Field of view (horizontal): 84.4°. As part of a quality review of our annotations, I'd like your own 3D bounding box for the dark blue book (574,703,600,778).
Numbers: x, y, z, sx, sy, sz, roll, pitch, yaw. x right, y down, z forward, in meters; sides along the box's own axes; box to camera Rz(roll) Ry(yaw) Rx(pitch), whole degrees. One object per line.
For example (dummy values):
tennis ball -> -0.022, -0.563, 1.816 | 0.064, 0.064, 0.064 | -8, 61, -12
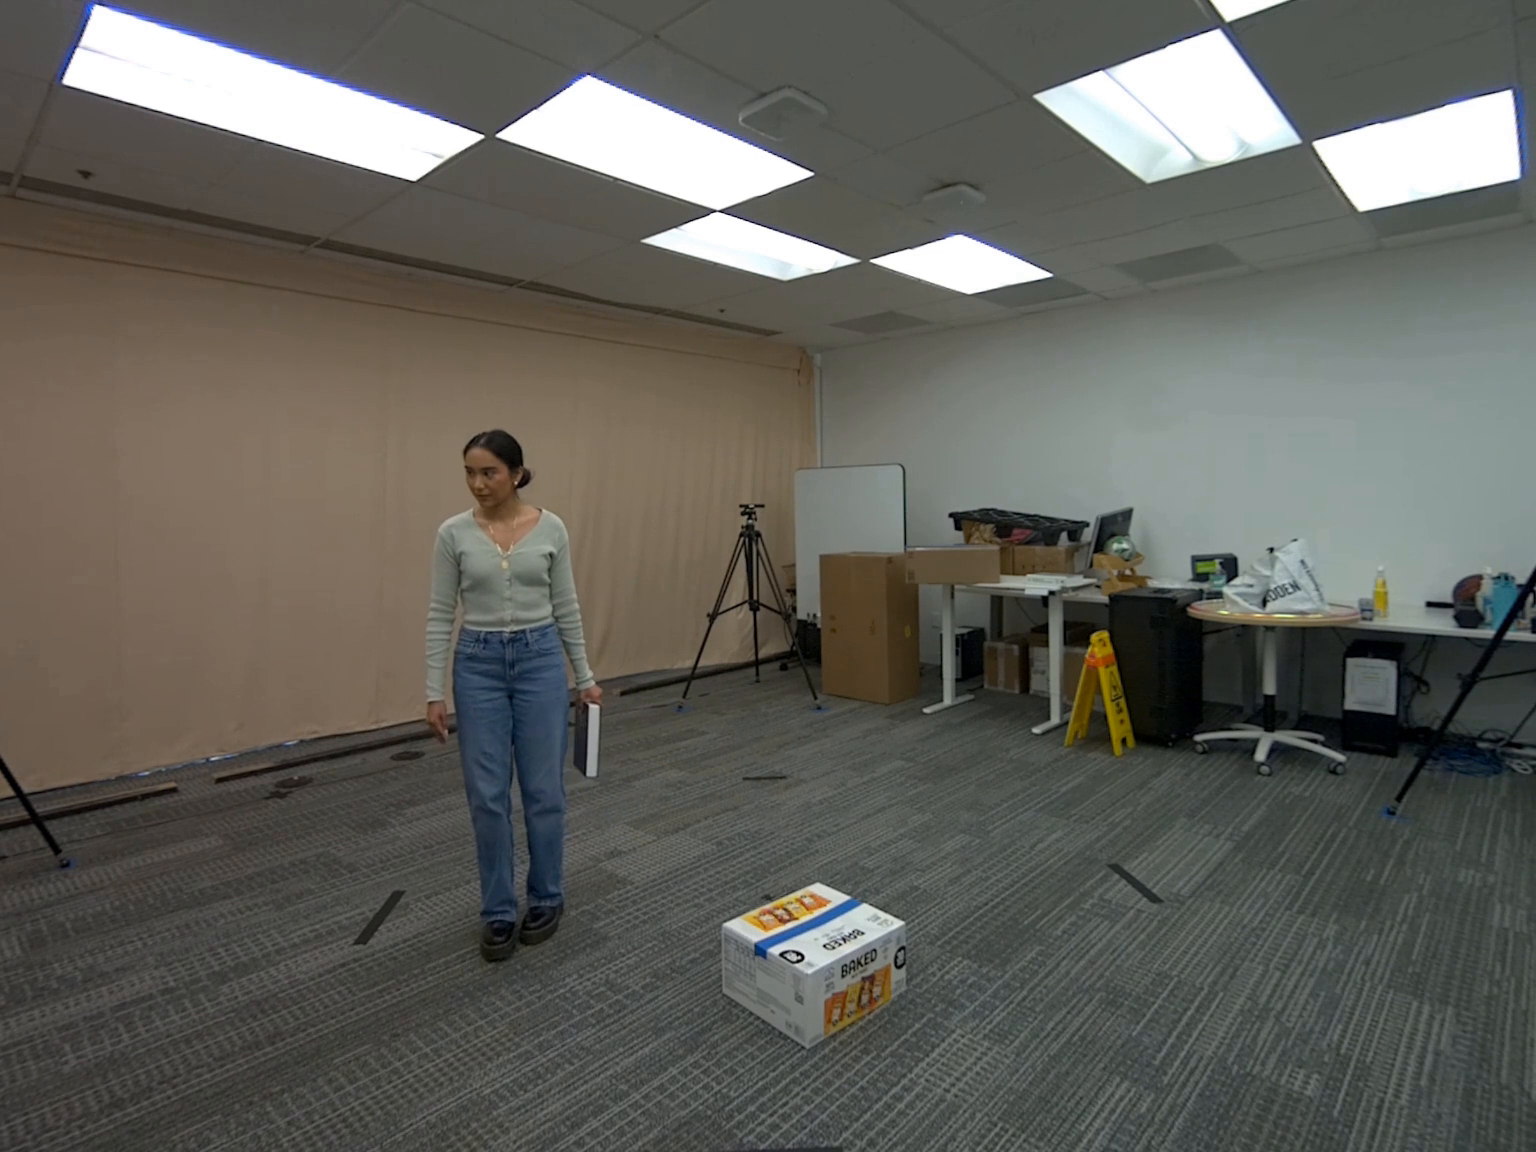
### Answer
dark blue book -> -0.620, 0.553, 2.874 | 0.044, 0.244, 0.168 | 0, 4, -26
